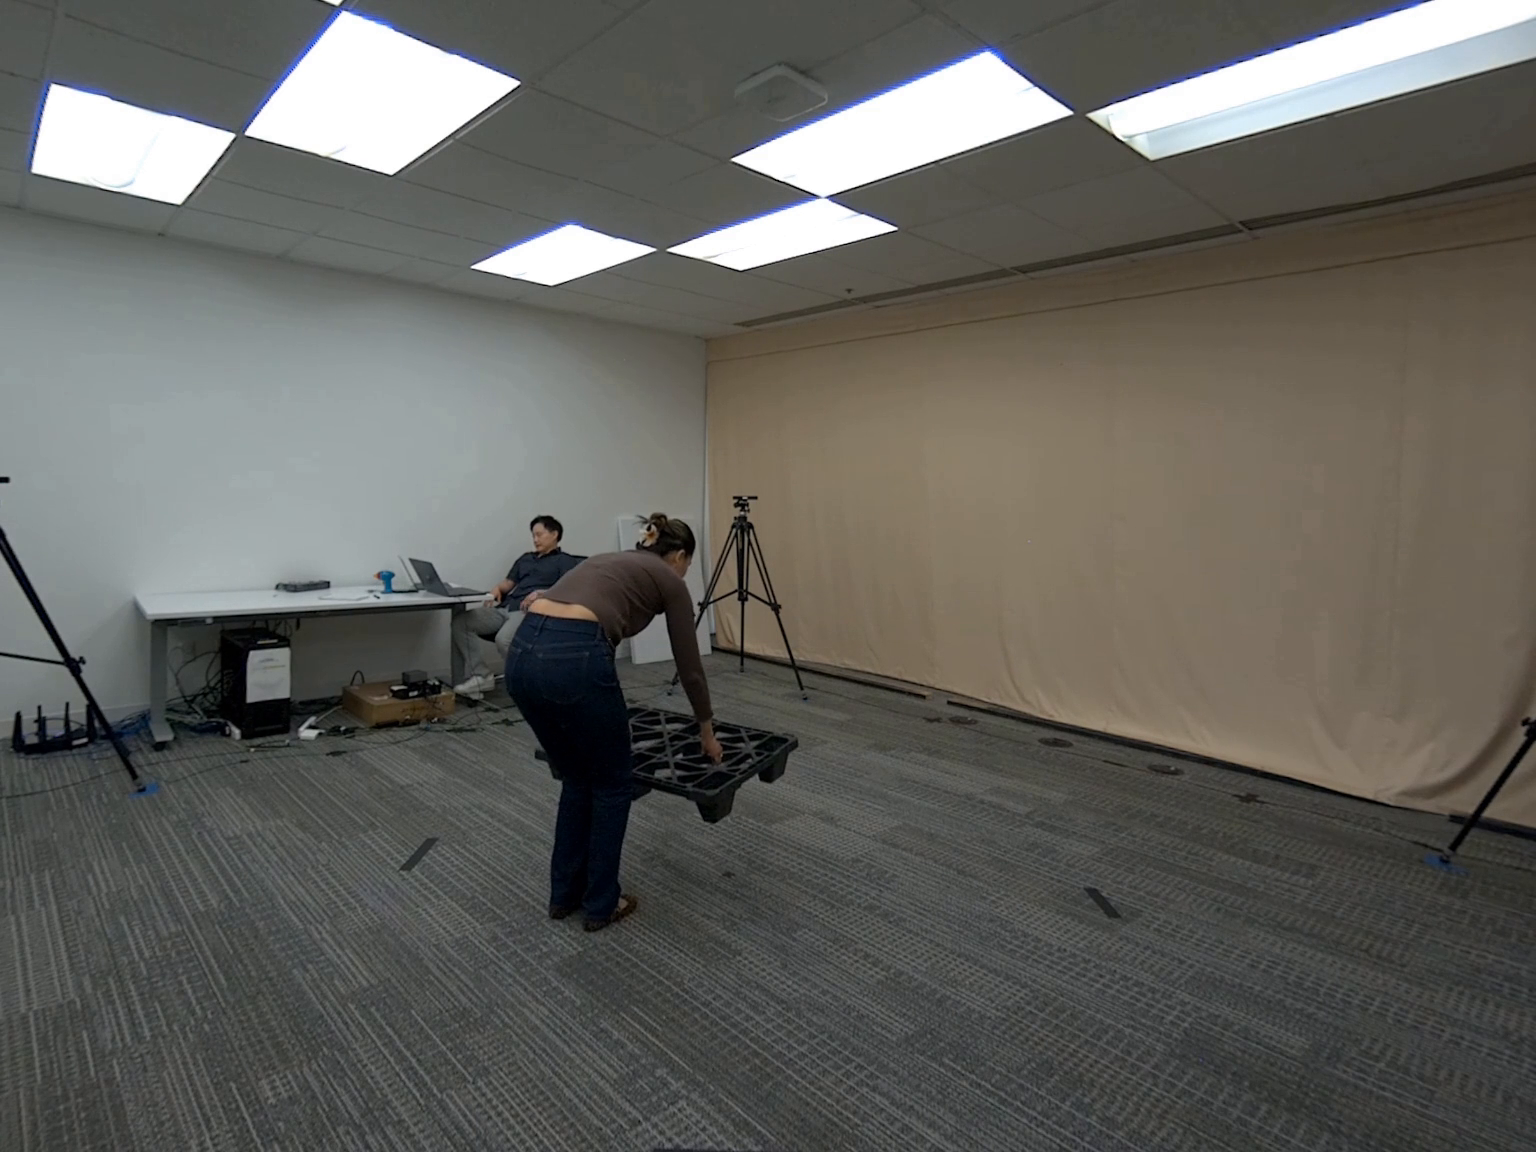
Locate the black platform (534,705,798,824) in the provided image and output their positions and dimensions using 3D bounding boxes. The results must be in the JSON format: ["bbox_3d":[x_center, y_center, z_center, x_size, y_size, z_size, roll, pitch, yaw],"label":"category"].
[{"bbox_3d":[-0.378,0.685,3.141,0.824,0.142,0.595,5,11,32],"label":"black platform"}]
